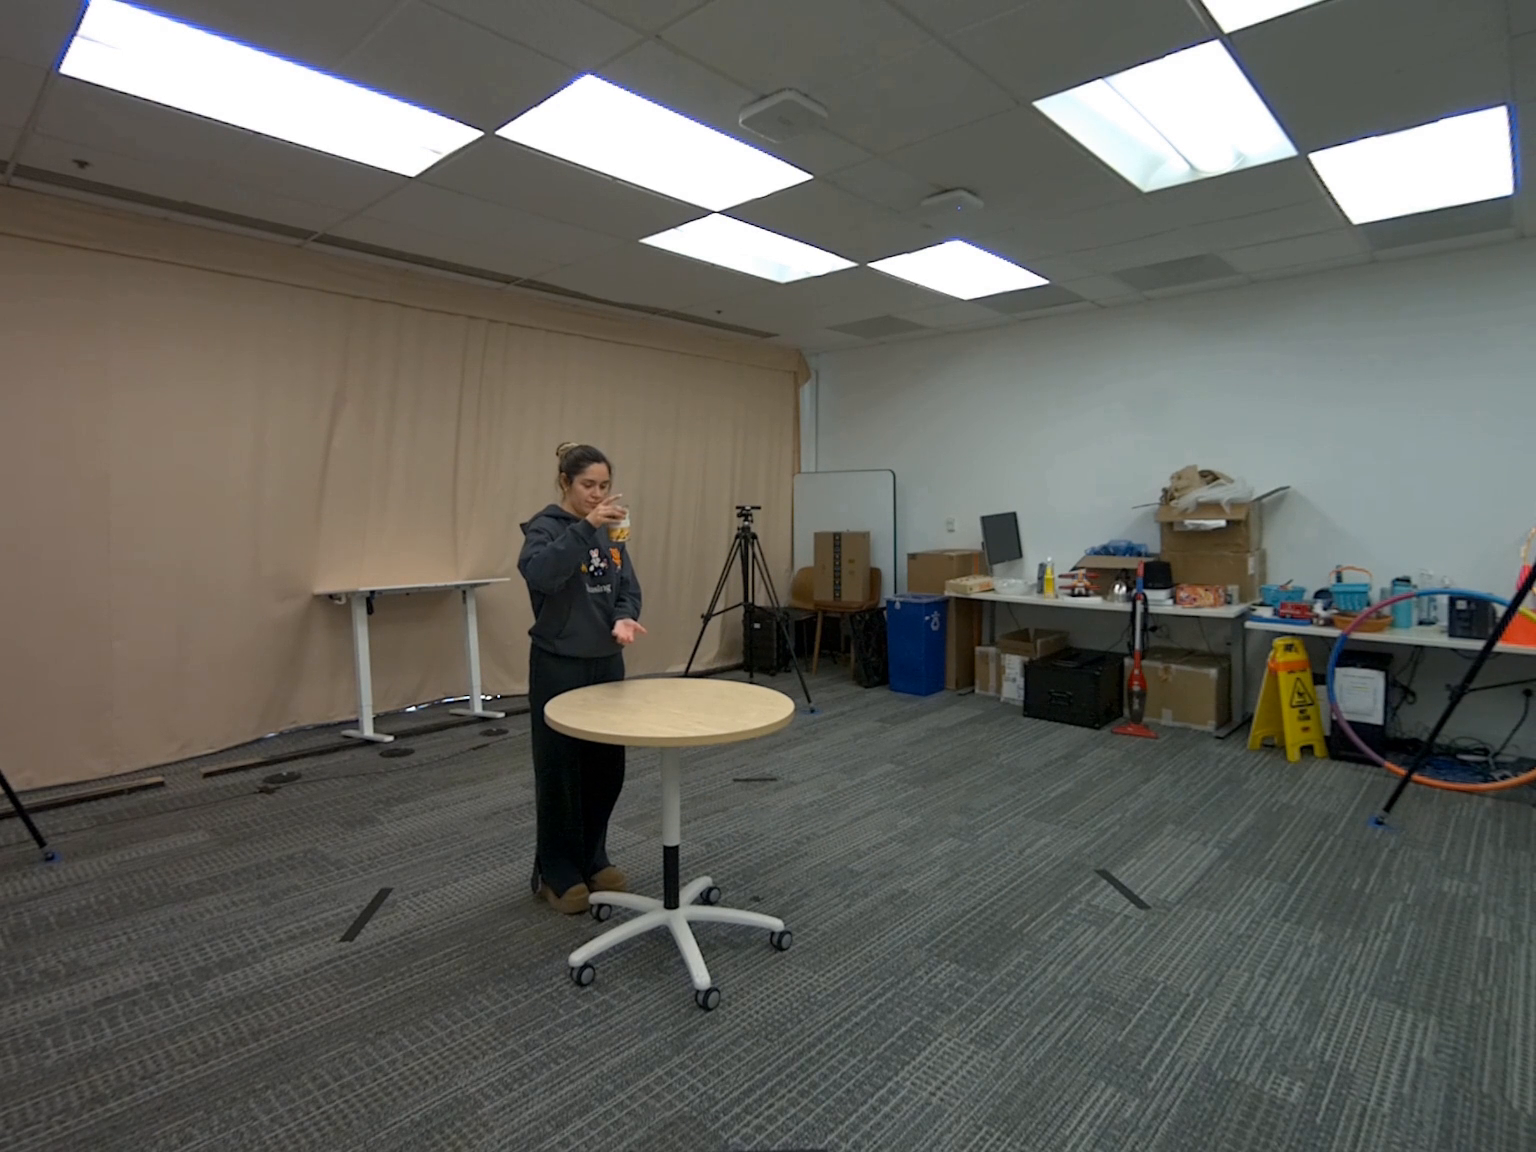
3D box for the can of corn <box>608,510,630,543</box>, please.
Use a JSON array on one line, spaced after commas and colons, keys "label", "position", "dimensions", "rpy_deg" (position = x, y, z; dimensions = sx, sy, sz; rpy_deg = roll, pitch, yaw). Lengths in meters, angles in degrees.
[{"label": "can of corn", "position": [-0.496, -0.170, 2.735], "dimensions": [0.074, 0.111, 0.074], "rpy_deg": [-4, 4, -2]}]
